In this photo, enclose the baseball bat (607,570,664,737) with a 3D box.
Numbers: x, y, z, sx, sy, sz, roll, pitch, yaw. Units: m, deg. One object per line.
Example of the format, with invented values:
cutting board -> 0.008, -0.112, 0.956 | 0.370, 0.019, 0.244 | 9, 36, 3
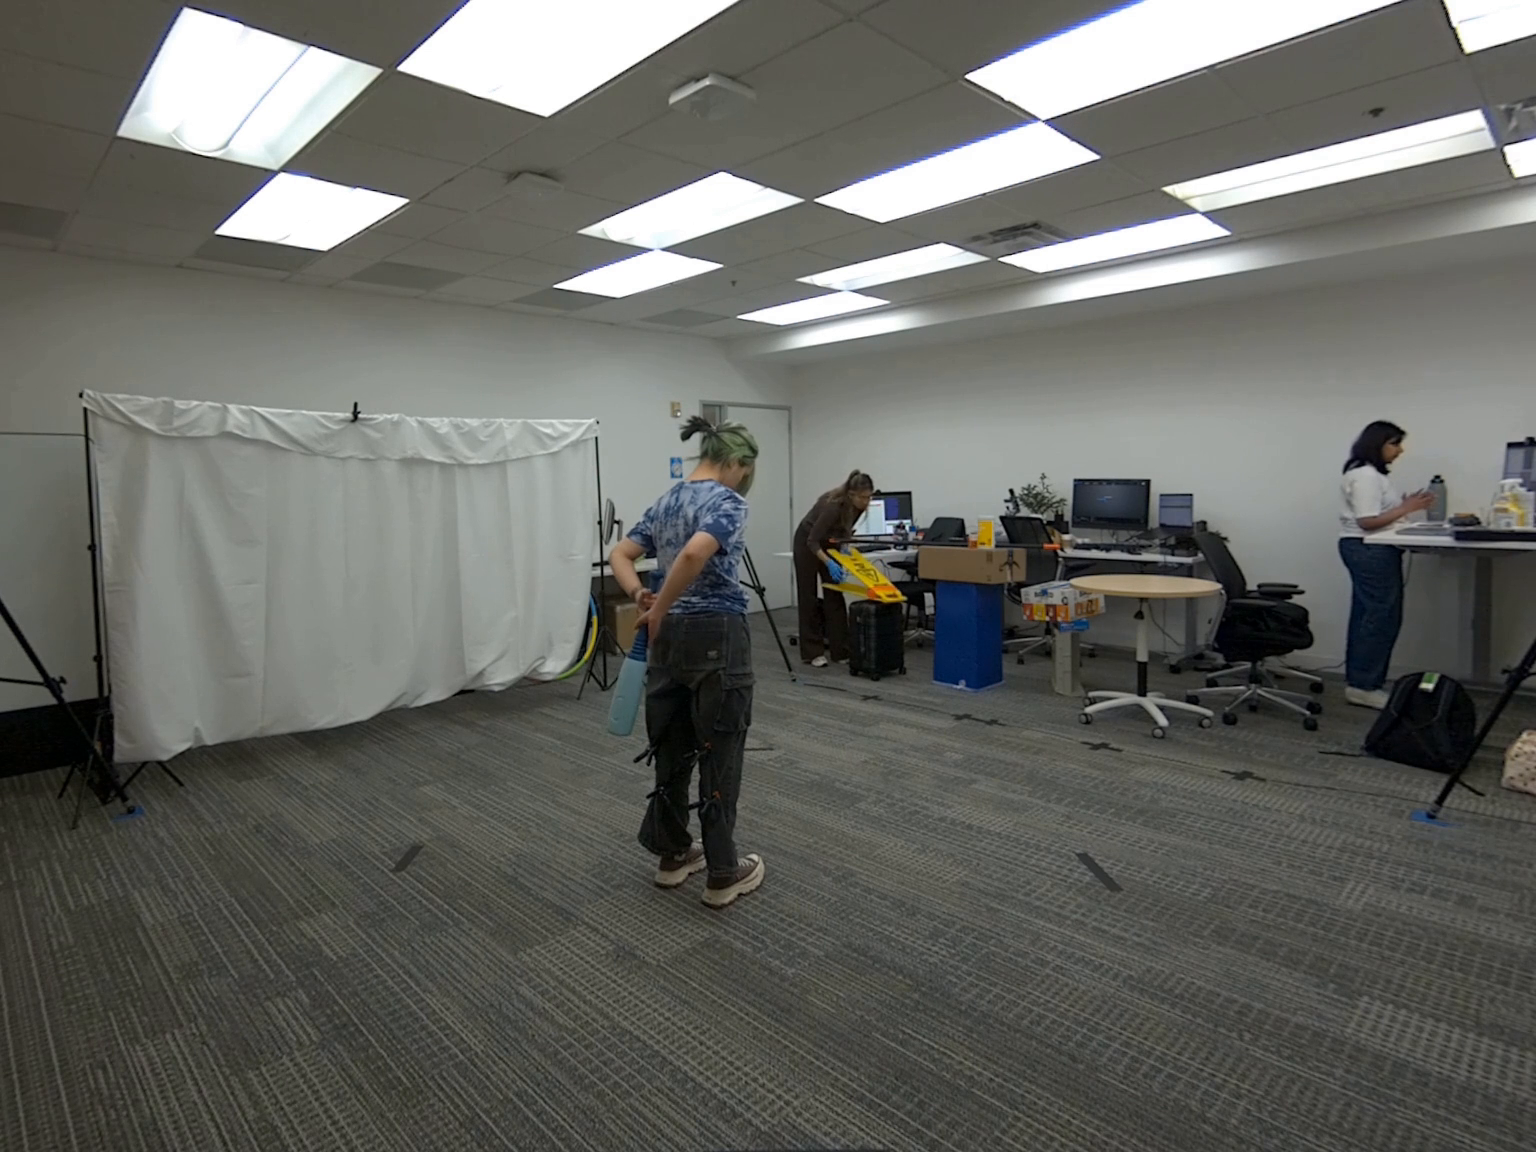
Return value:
baseball bat -> -0.409, 0.253, 2.751 | 0.089, 0.544, 0.089 | 13, -2, -1
